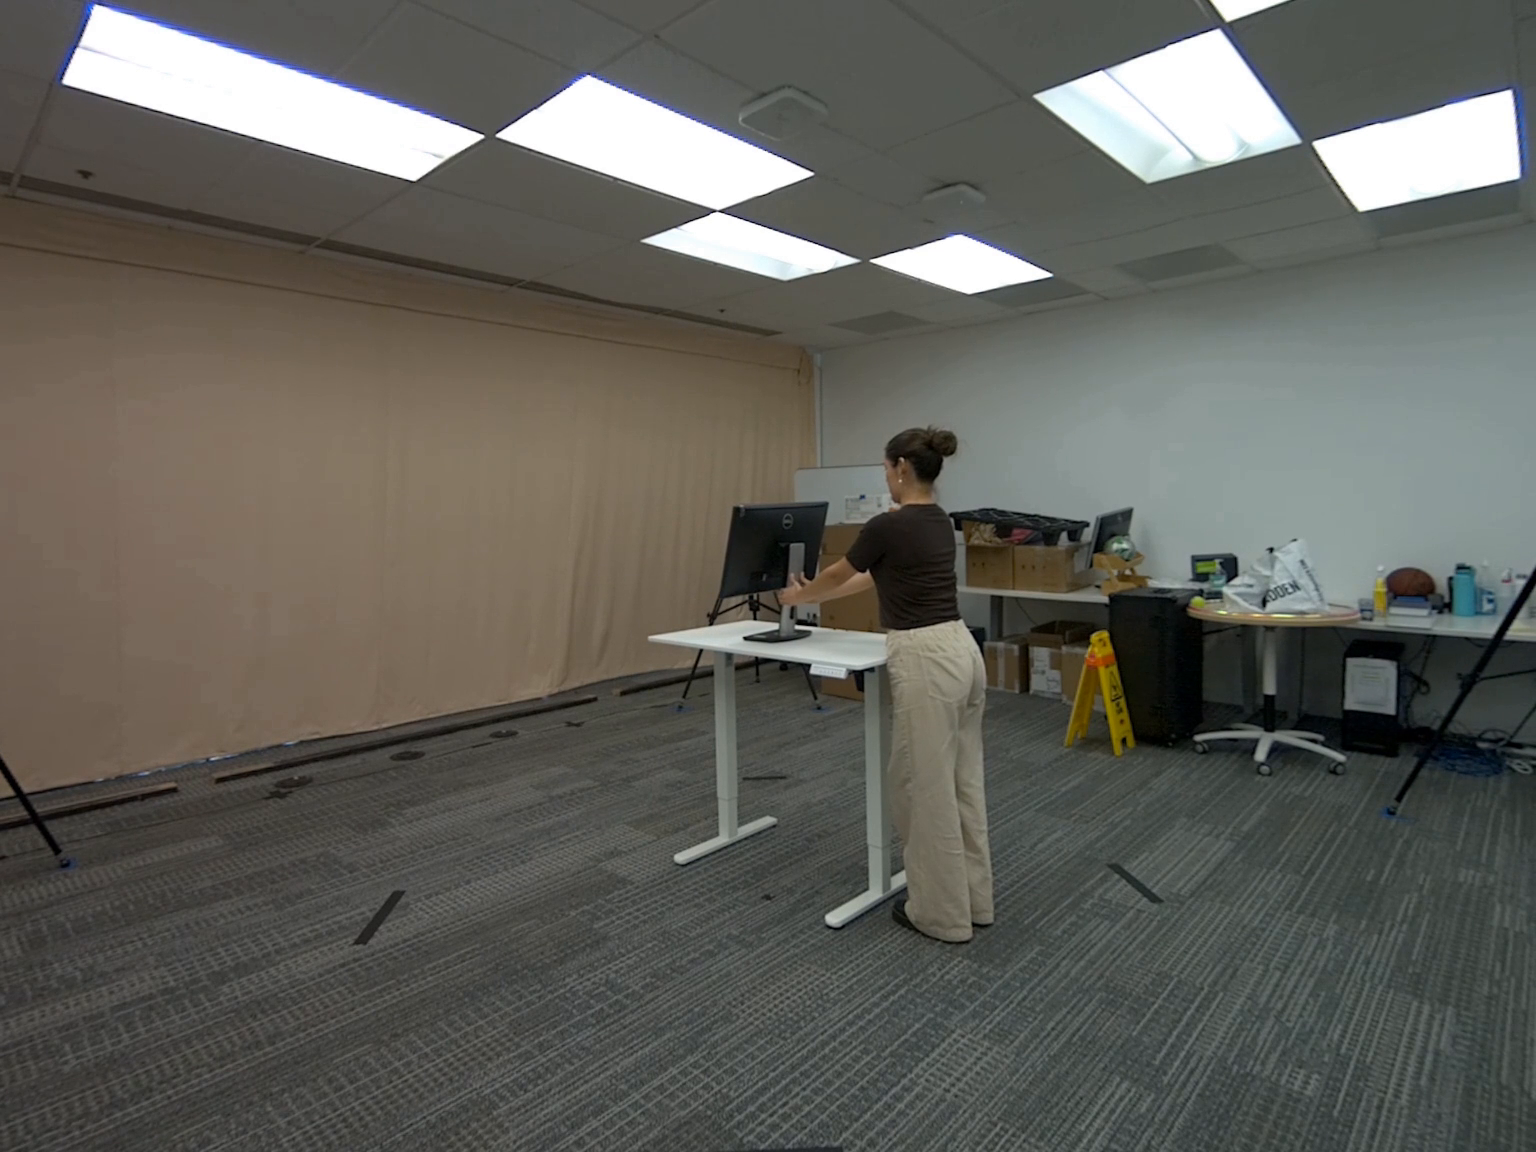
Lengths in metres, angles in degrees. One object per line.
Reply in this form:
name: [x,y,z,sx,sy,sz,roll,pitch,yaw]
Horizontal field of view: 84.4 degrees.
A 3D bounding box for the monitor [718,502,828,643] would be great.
monitor: [0.057,-0.014,3.213,0.193,0.521,0.523,5,7,41]
